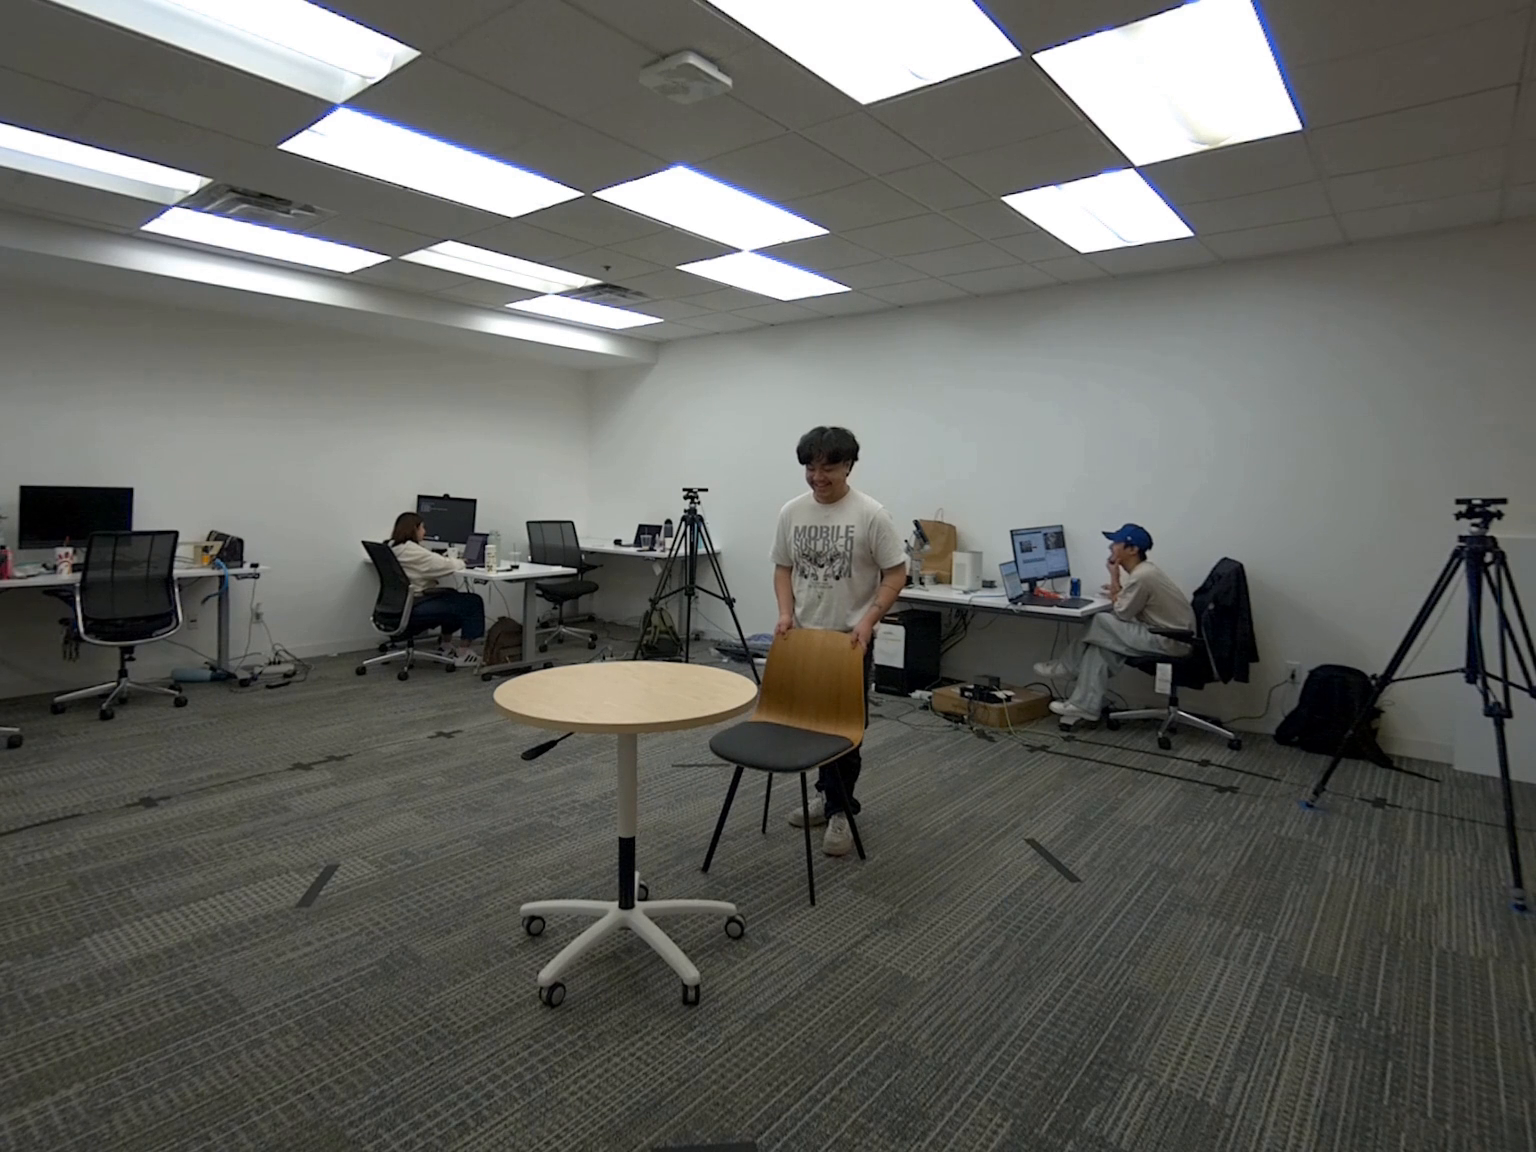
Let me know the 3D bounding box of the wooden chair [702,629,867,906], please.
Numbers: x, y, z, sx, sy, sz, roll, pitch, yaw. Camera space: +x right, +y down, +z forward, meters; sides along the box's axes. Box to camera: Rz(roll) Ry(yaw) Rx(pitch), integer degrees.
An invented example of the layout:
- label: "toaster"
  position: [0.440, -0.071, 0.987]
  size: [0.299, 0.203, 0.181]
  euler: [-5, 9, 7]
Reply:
- label: "wooden chair"
  position: [0.064, 0.646, 3.123]
  size: [0.493, 0.878, 0.507]
  euler: [4, 0, 31]
